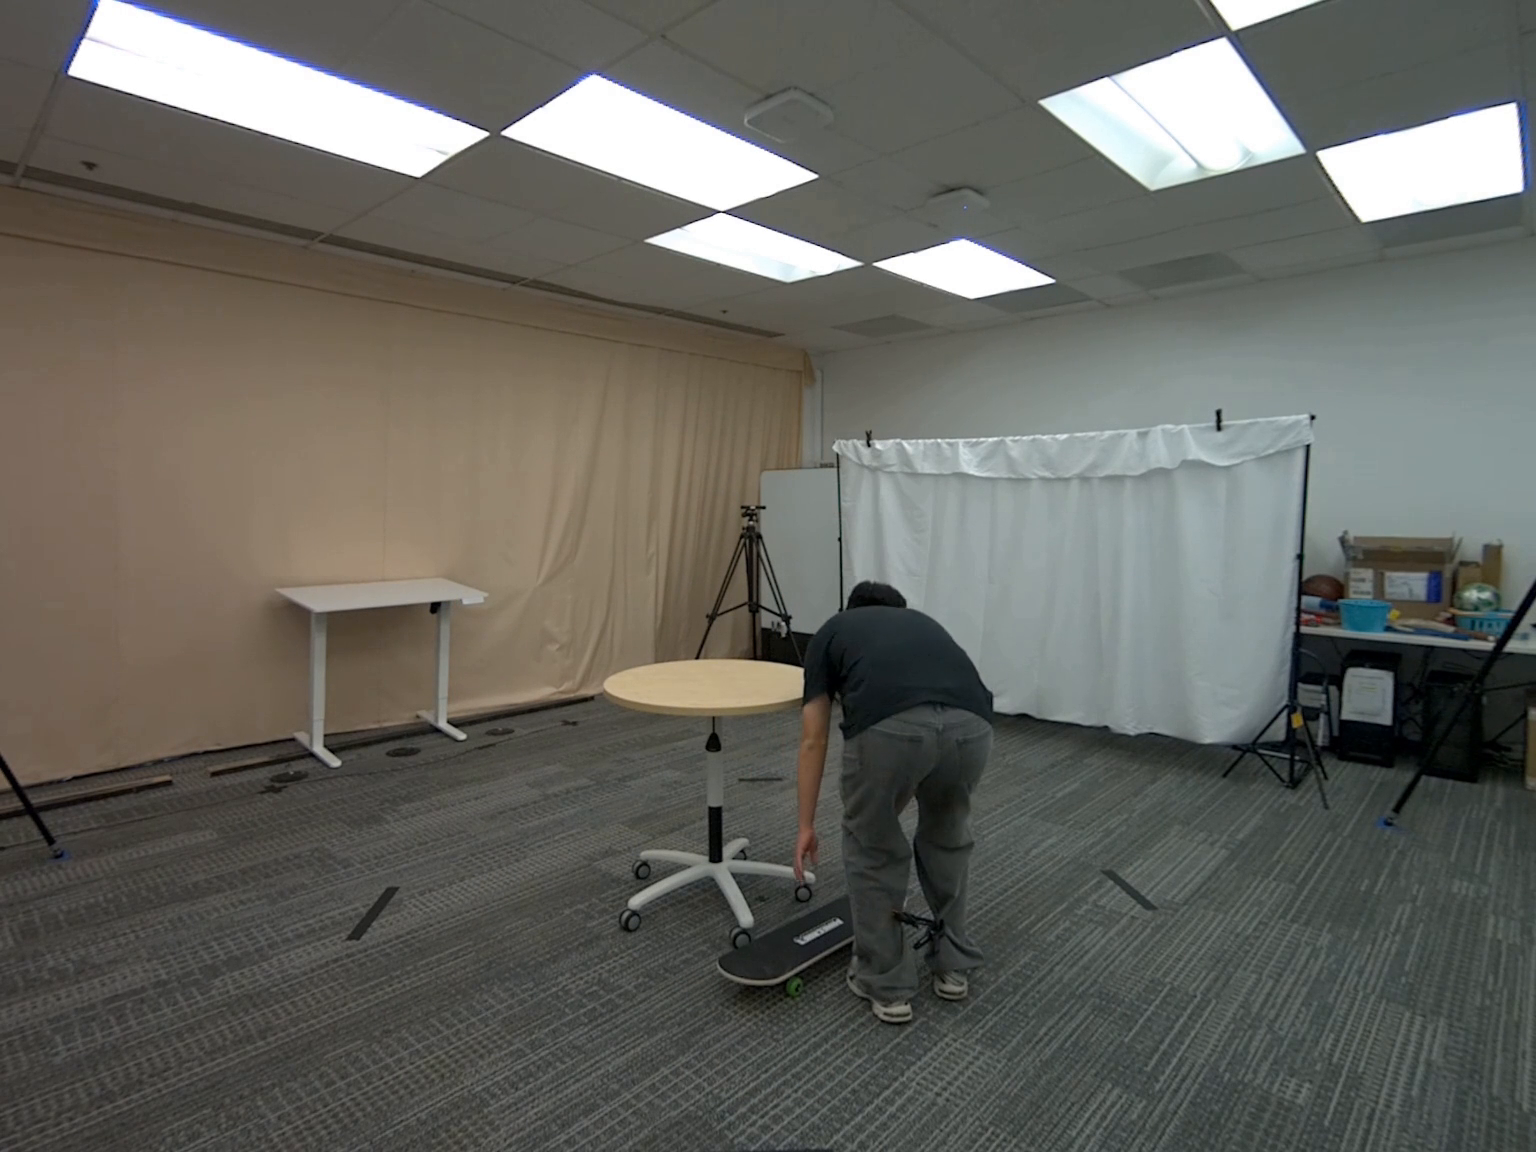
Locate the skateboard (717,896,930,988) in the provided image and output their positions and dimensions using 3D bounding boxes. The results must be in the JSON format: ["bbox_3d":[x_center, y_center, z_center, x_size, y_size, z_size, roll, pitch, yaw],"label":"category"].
[{"bbox_3d":[0.158,1.127,2.574,0.761,0.110,0.200,-5,5,-44],"label":"skateboard"}]
